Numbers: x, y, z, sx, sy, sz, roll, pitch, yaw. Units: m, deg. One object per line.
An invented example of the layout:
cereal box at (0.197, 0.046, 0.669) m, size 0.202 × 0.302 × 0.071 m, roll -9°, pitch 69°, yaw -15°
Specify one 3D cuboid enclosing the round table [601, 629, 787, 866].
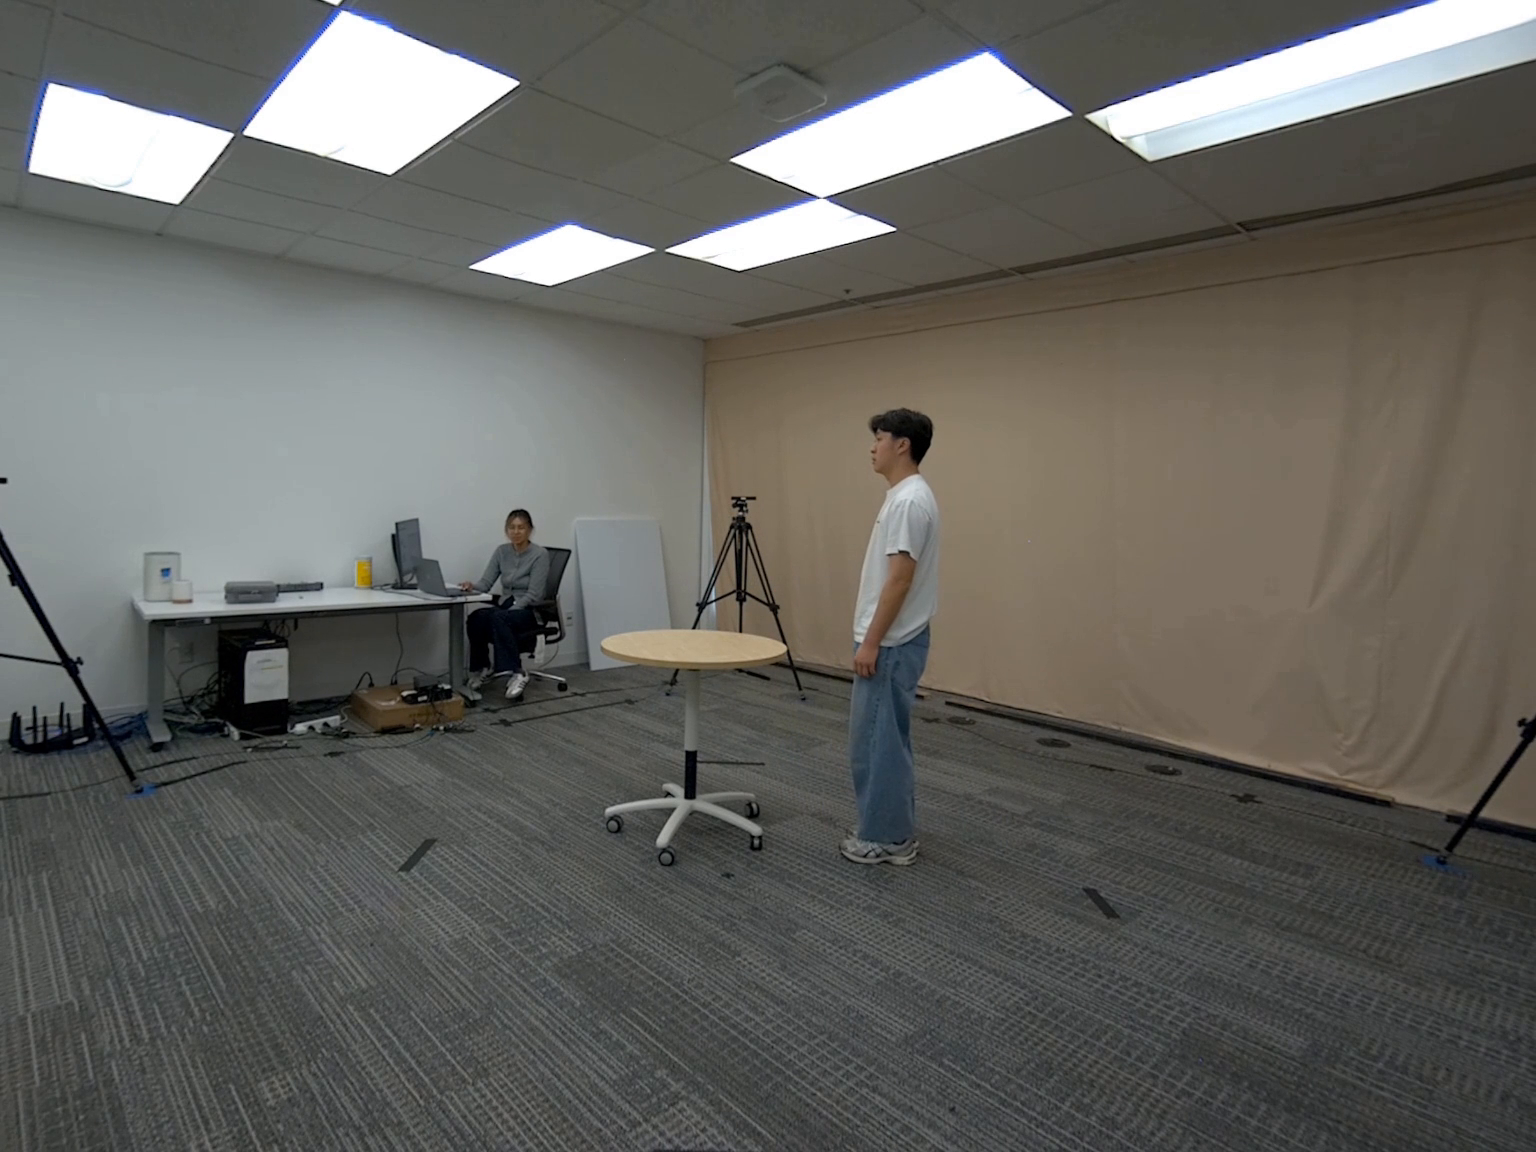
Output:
round table at (-0.327, 0.669, 3.475) m, size 0.784 × 0.784 × 0.788 m, roll 2°, pitch 4°, yaw -1°
